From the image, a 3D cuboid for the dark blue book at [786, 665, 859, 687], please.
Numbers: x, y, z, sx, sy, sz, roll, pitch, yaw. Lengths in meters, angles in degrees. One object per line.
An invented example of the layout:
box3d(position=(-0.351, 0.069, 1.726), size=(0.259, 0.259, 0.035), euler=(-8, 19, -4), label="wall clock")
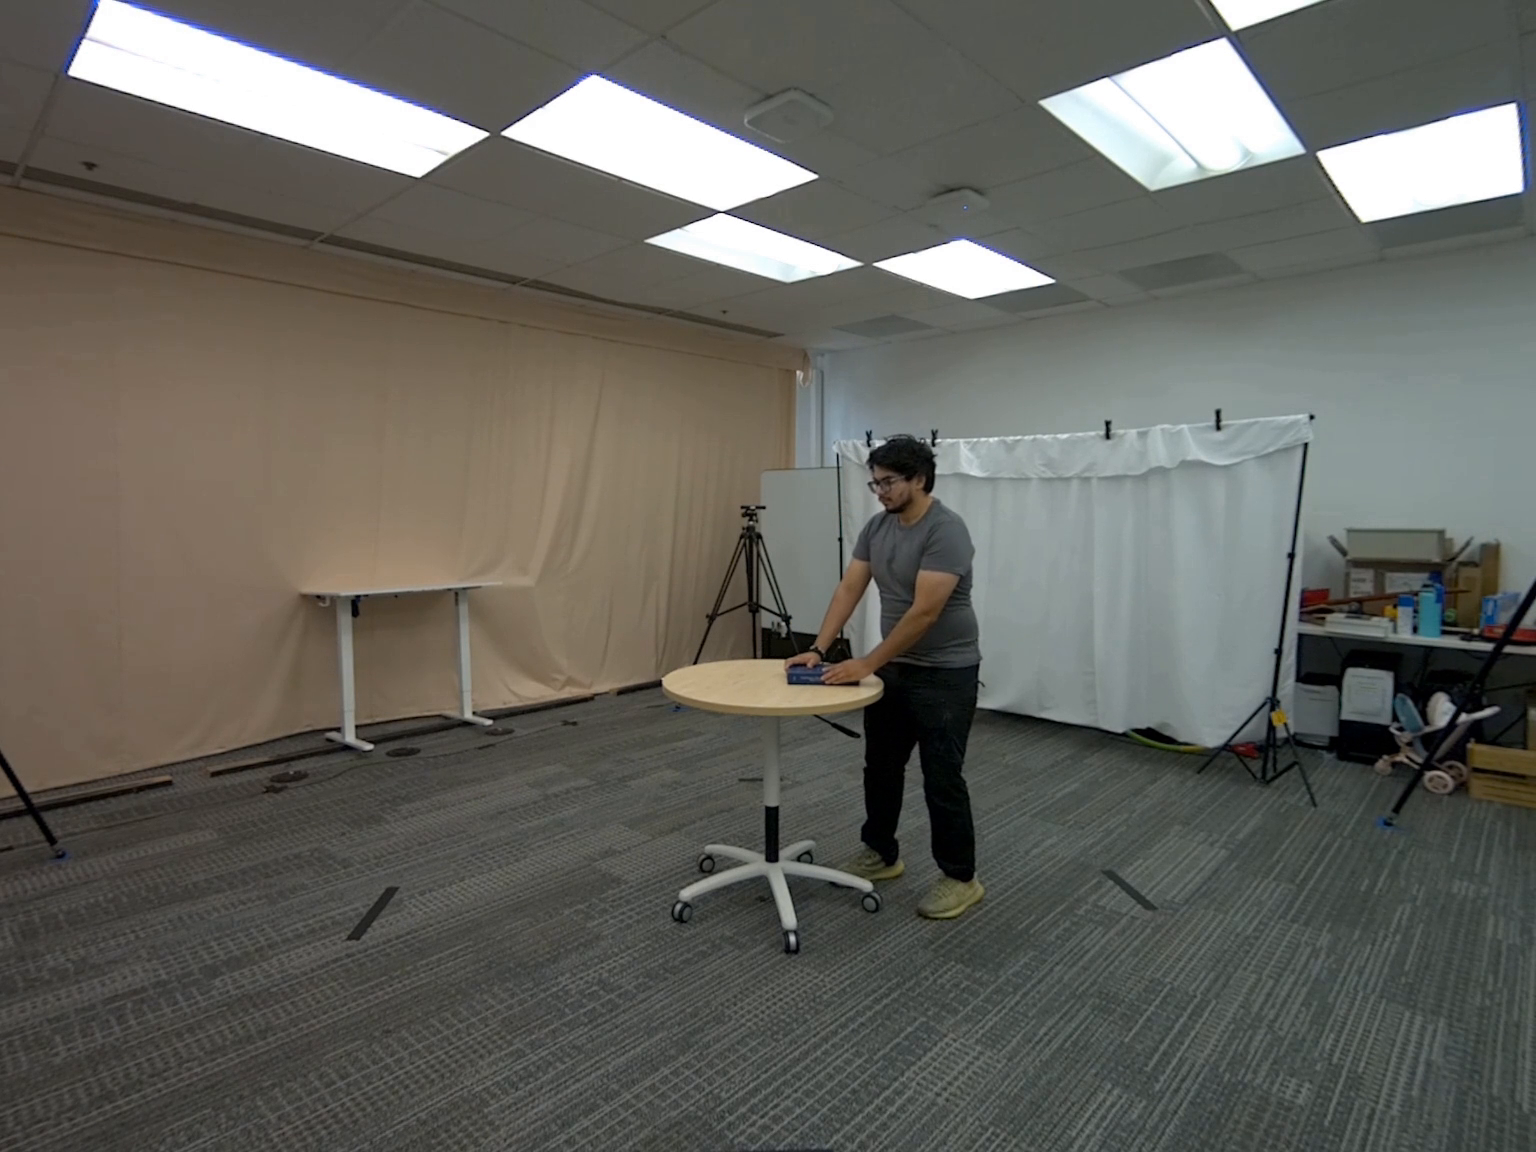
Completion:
box3d(position=(0.195, 0.348, 2.937), size=(0.246, 0.045, 0.163), euler=(1, 5, 3), label="dark blue book")
